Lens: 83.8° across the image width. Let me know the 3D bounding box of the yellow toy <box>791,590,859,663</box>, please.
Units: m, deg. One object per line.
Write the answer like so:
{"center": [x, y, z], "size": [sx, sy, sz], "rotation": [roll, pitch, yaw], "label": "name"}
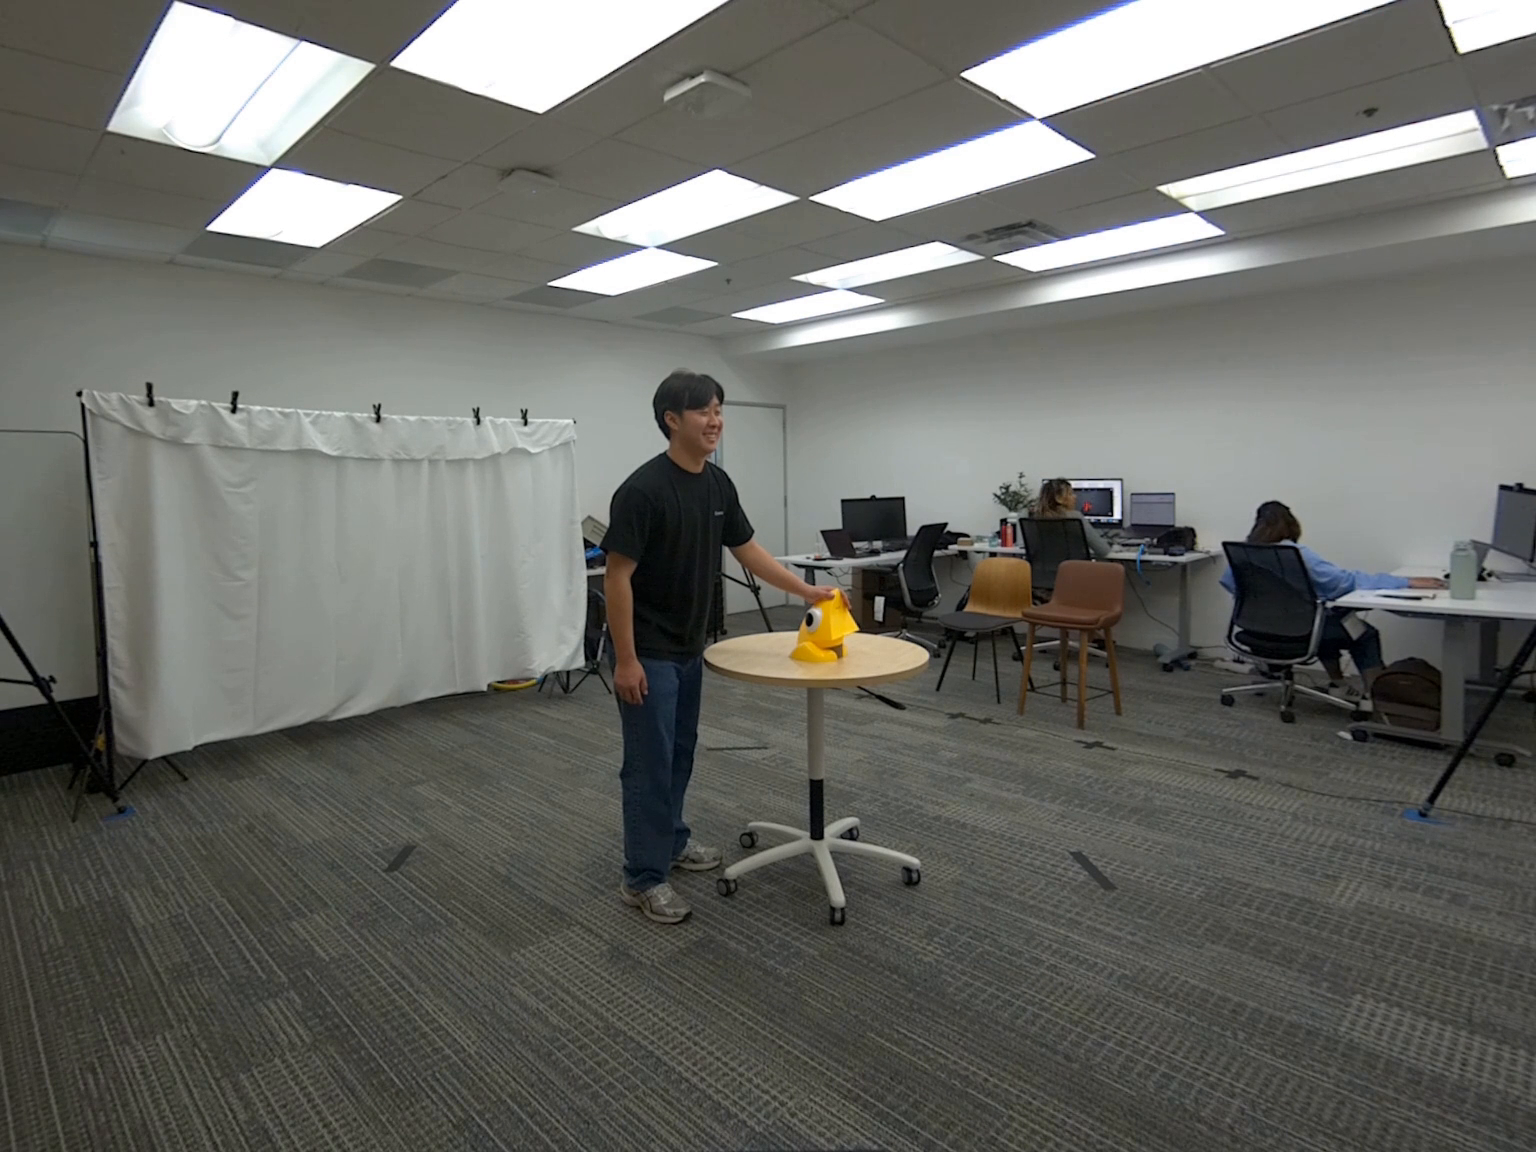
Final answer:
{"center": [0.181, 0.155, 2.867], "size": [0.198, 0.230, 0.200], "rotation": [3, 6, 31], "label": "yellow toy"}
